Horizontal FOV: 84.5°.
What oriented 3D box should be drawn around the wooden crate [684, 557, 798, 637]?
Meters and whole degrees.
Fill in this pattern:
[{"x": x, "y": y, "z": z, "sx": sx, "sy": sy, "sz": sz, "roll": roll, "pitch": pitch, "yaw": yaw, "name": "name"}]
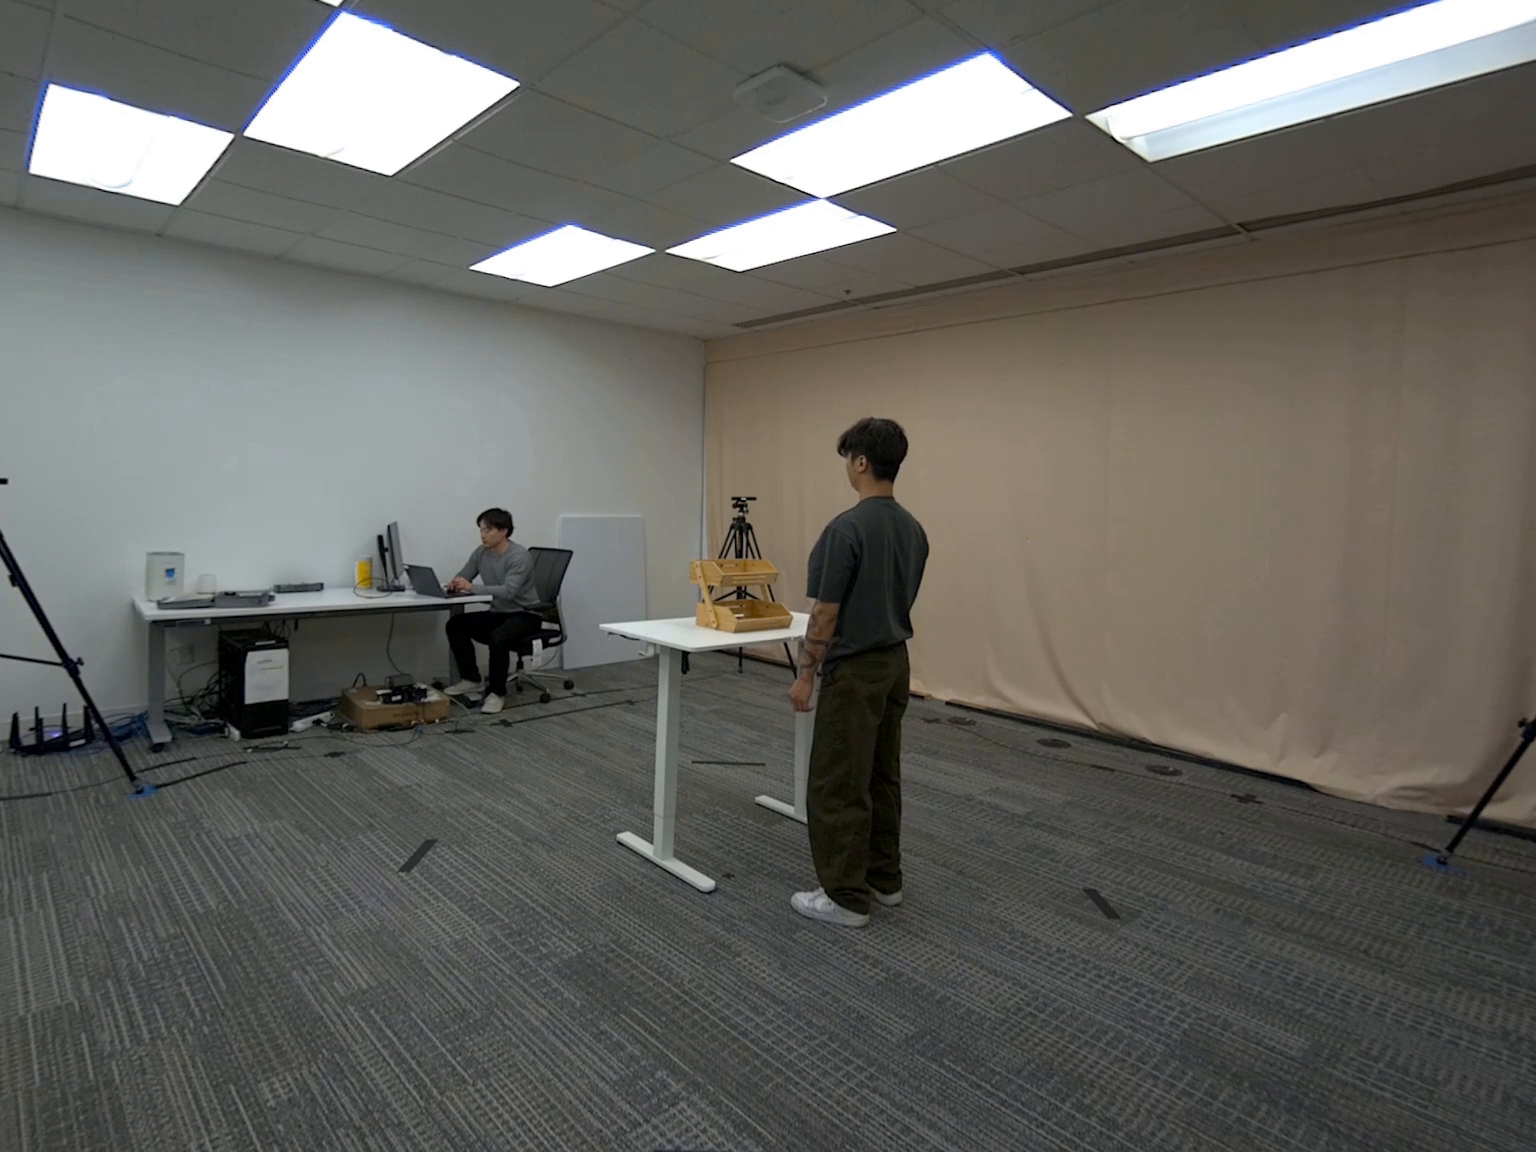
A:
[{"x": -0.112, "y": 0.070, "z": 3.376, "sx": 0.317, "sy": 0.273, "sz": 0.310, "roll": -1, "pitch": 4, "yaw": -42, "name": "wooden crate"}]
